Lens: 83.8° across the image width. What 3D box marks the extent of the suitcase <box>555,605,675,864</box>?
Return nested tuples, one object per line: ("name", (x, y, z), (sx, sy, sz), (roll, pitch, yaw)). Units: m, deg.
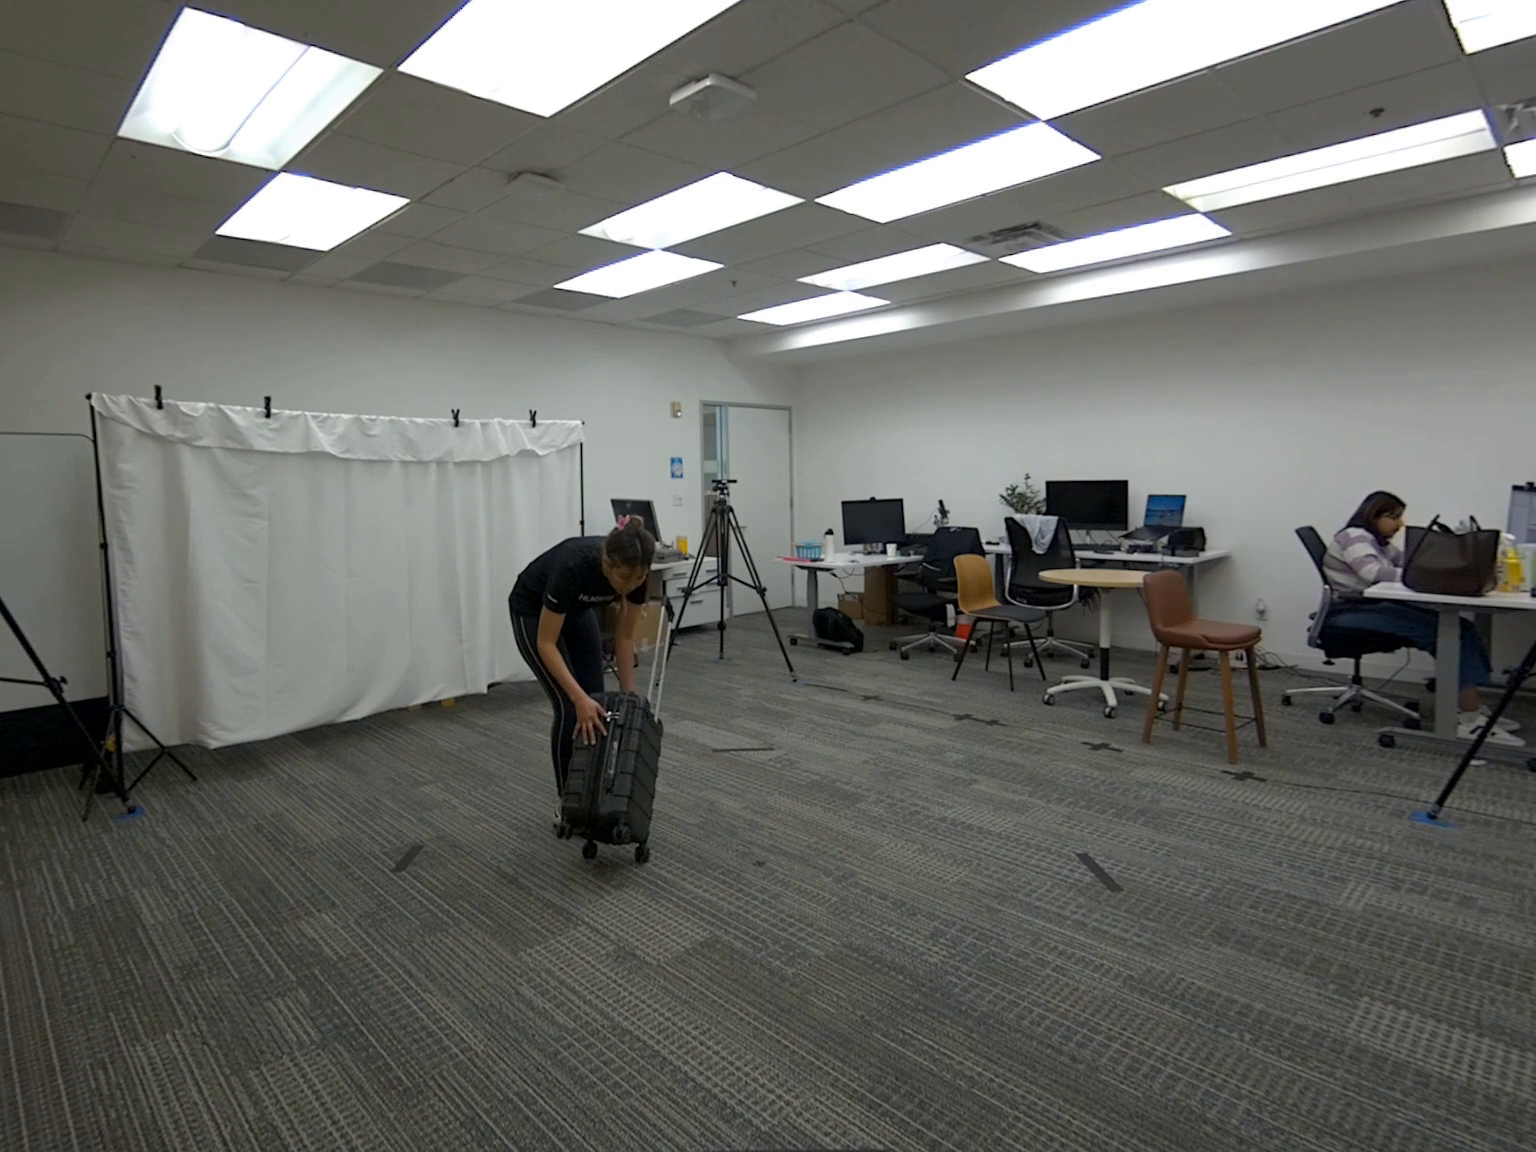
("suitcase", (-0.551, 0.547, 3.270), (0.260, 1.000, 0.372), (-1, -31, 10))
